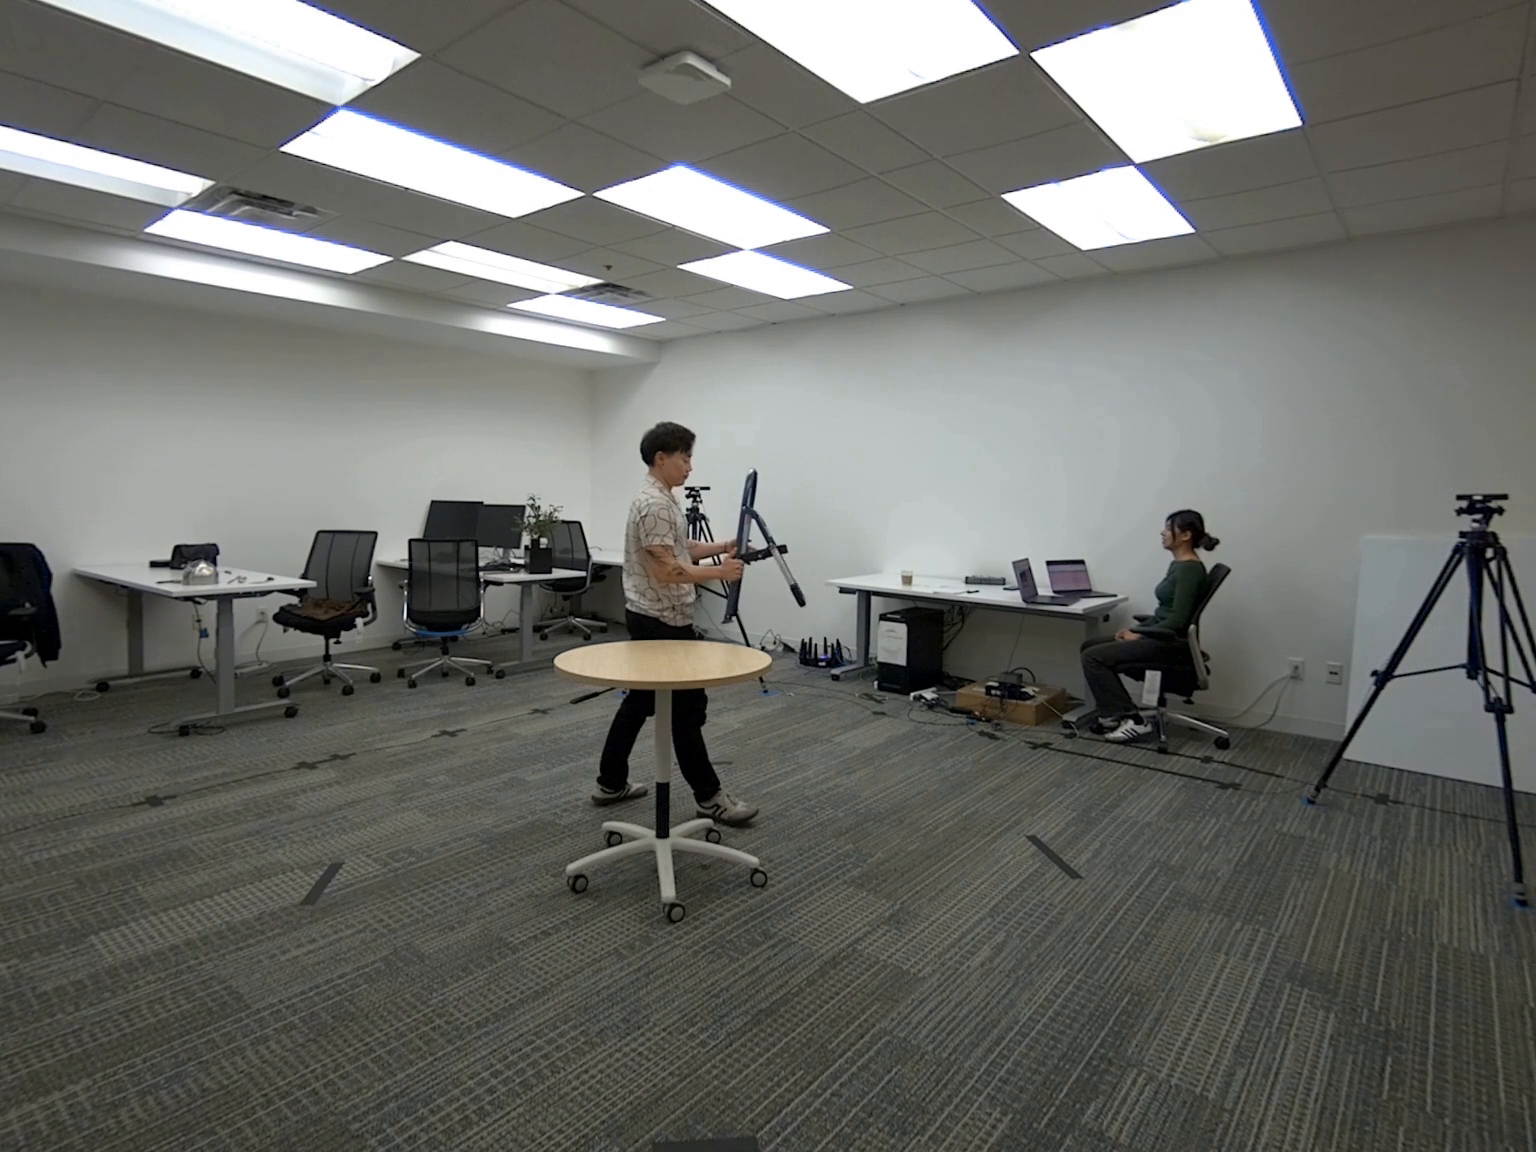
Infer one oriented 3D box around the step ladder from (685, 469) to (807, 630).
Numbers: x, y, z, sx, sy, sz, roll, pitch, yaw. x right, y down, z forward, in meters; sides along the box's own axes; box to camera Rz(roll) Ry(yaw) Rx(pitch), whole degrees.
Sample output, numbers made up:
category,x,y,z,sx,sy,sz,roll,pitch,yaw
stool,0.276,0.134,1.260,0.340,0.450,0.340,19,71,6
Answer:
category,x,y,z,sx,sy,sz,roll,pitch,yaw
step ladder,-0.084,-0.153,3.654,0.350,0.607,0.429,-11,-1,2
